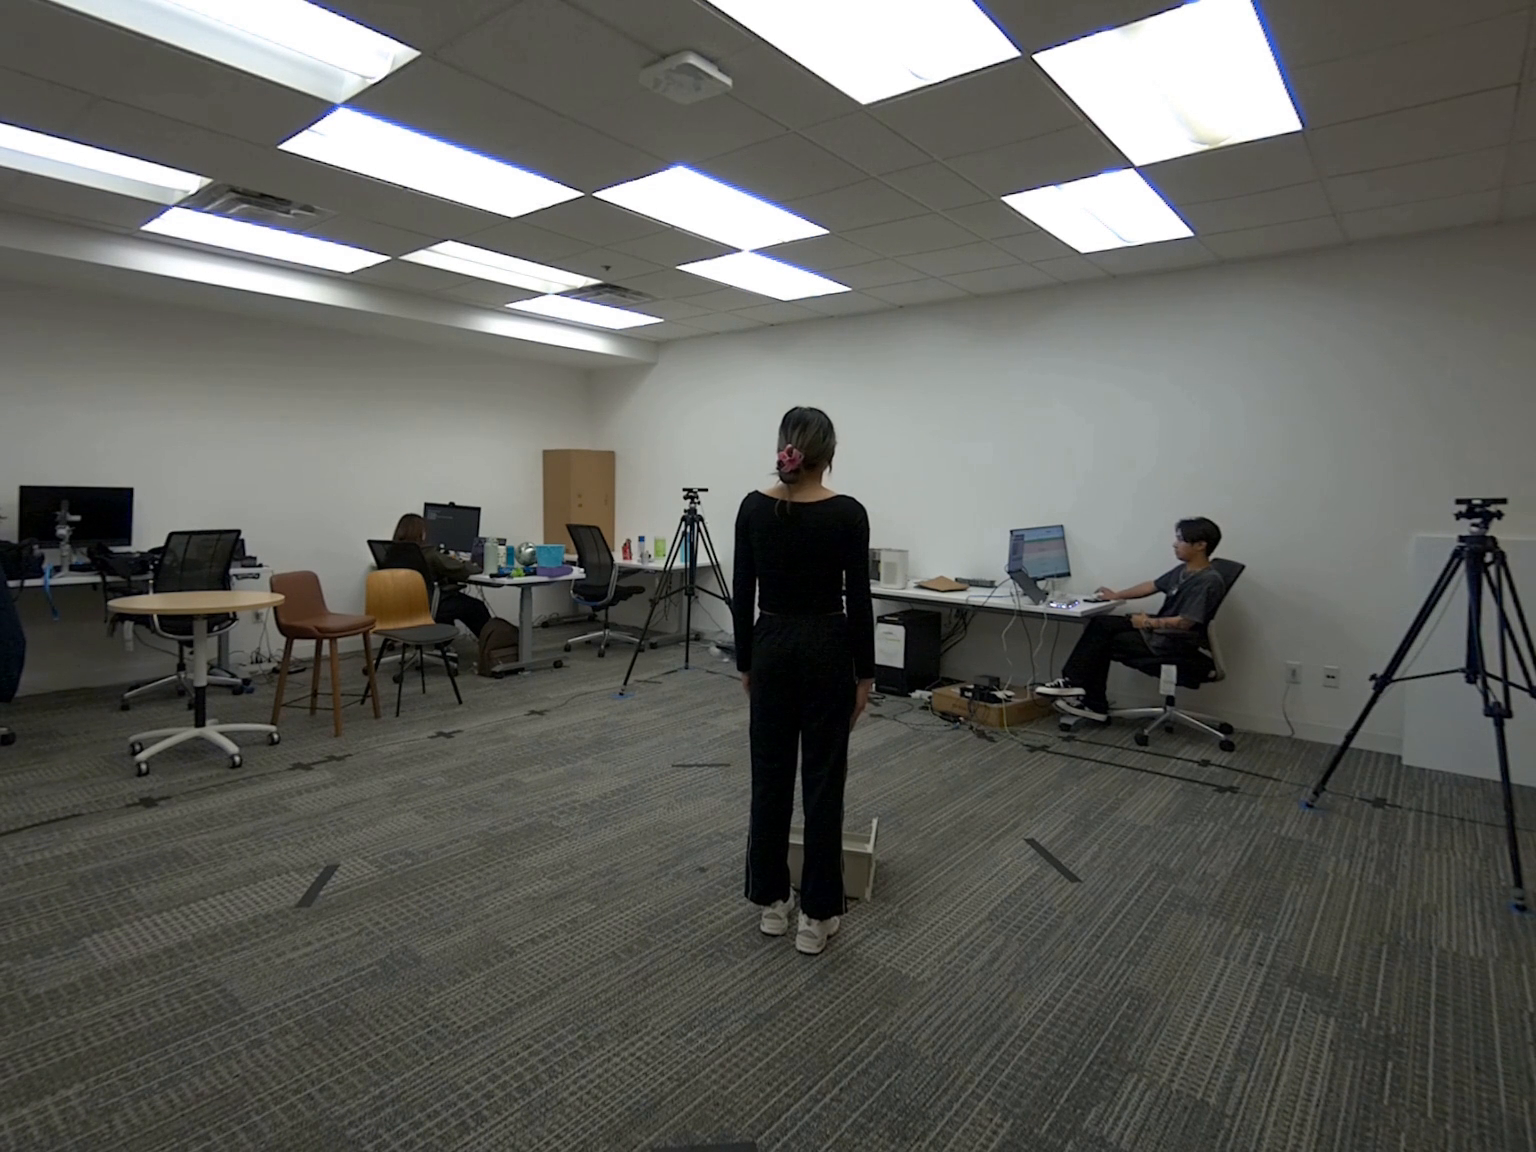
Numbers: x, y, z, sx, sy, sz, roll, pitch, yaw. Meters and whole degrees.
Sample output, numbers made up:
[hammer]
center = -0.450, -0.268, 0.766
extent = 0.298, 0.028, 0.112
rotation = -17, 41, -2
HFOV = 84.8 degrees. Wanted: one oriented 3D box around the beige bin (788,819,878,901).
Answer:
[beige bin]
center = 0.174, 0.990, 3.104
extent = 0.429, 0.188, 0.374
rotation = 3, 6, 12
